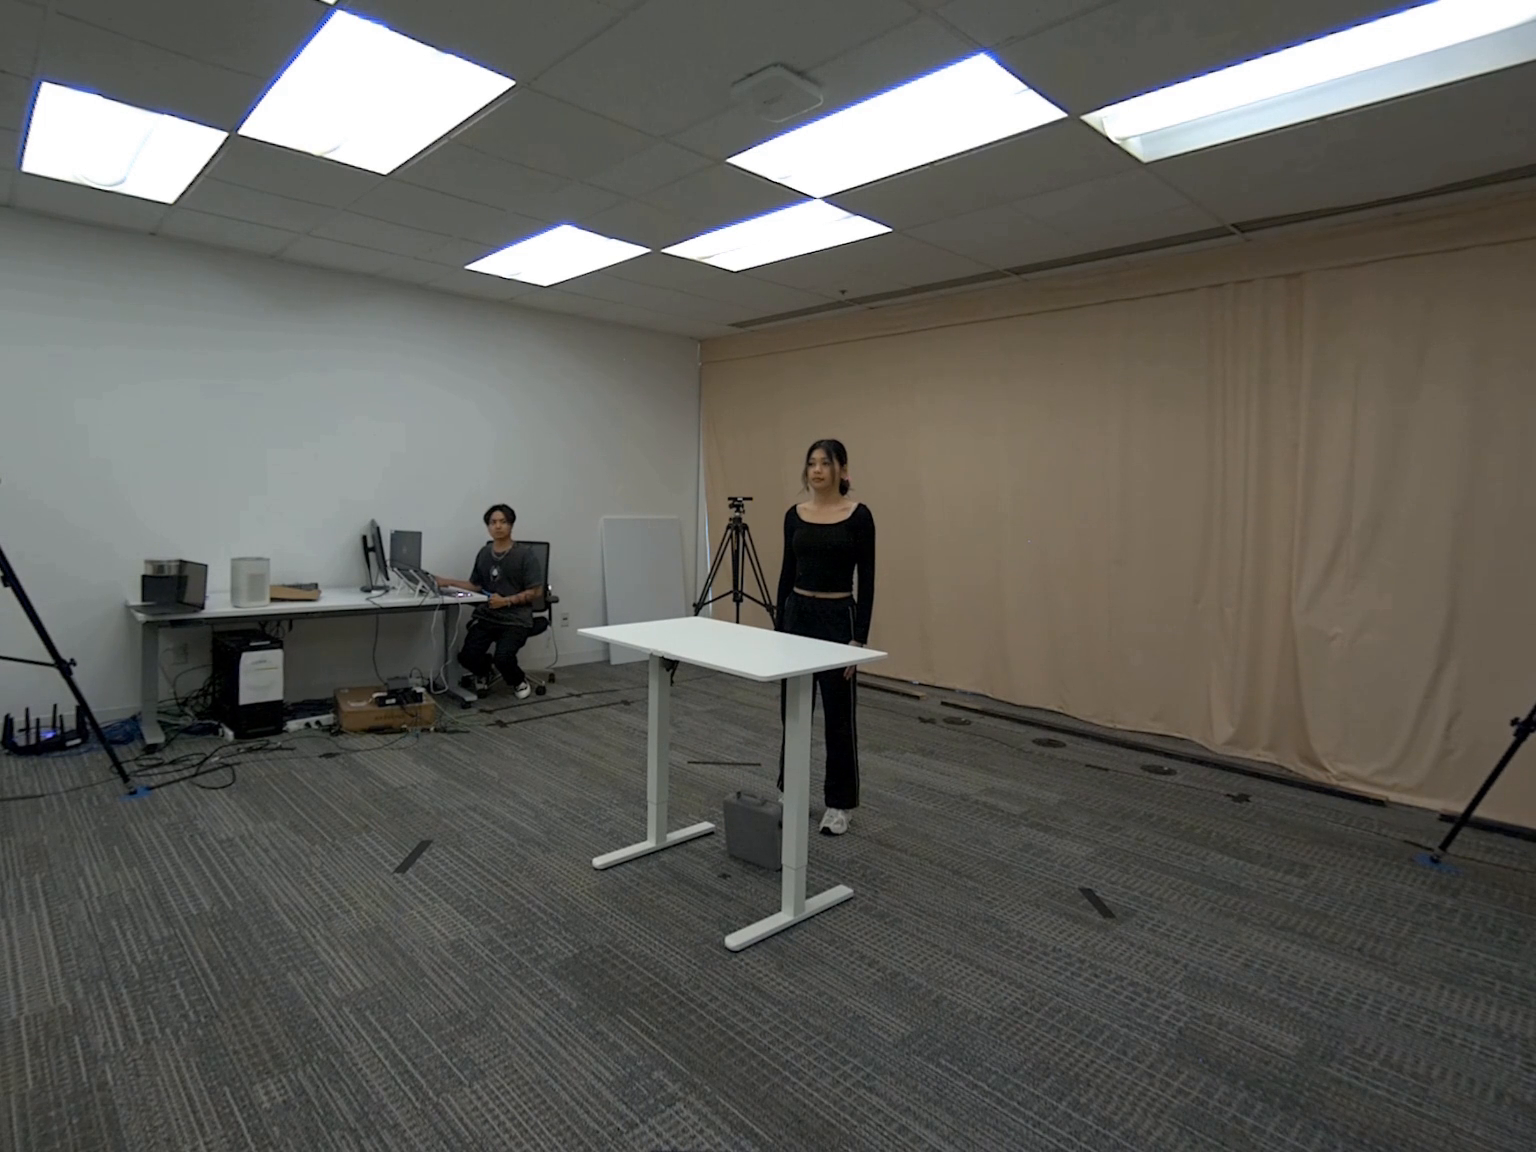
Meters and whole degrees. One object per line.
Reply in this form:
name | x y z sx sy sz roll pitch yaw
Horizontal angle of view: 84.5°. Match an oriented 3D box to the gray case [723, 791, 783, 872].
gray case | -0.054 0.966 3.222 0.263 0.258 0.103 4 15 37
